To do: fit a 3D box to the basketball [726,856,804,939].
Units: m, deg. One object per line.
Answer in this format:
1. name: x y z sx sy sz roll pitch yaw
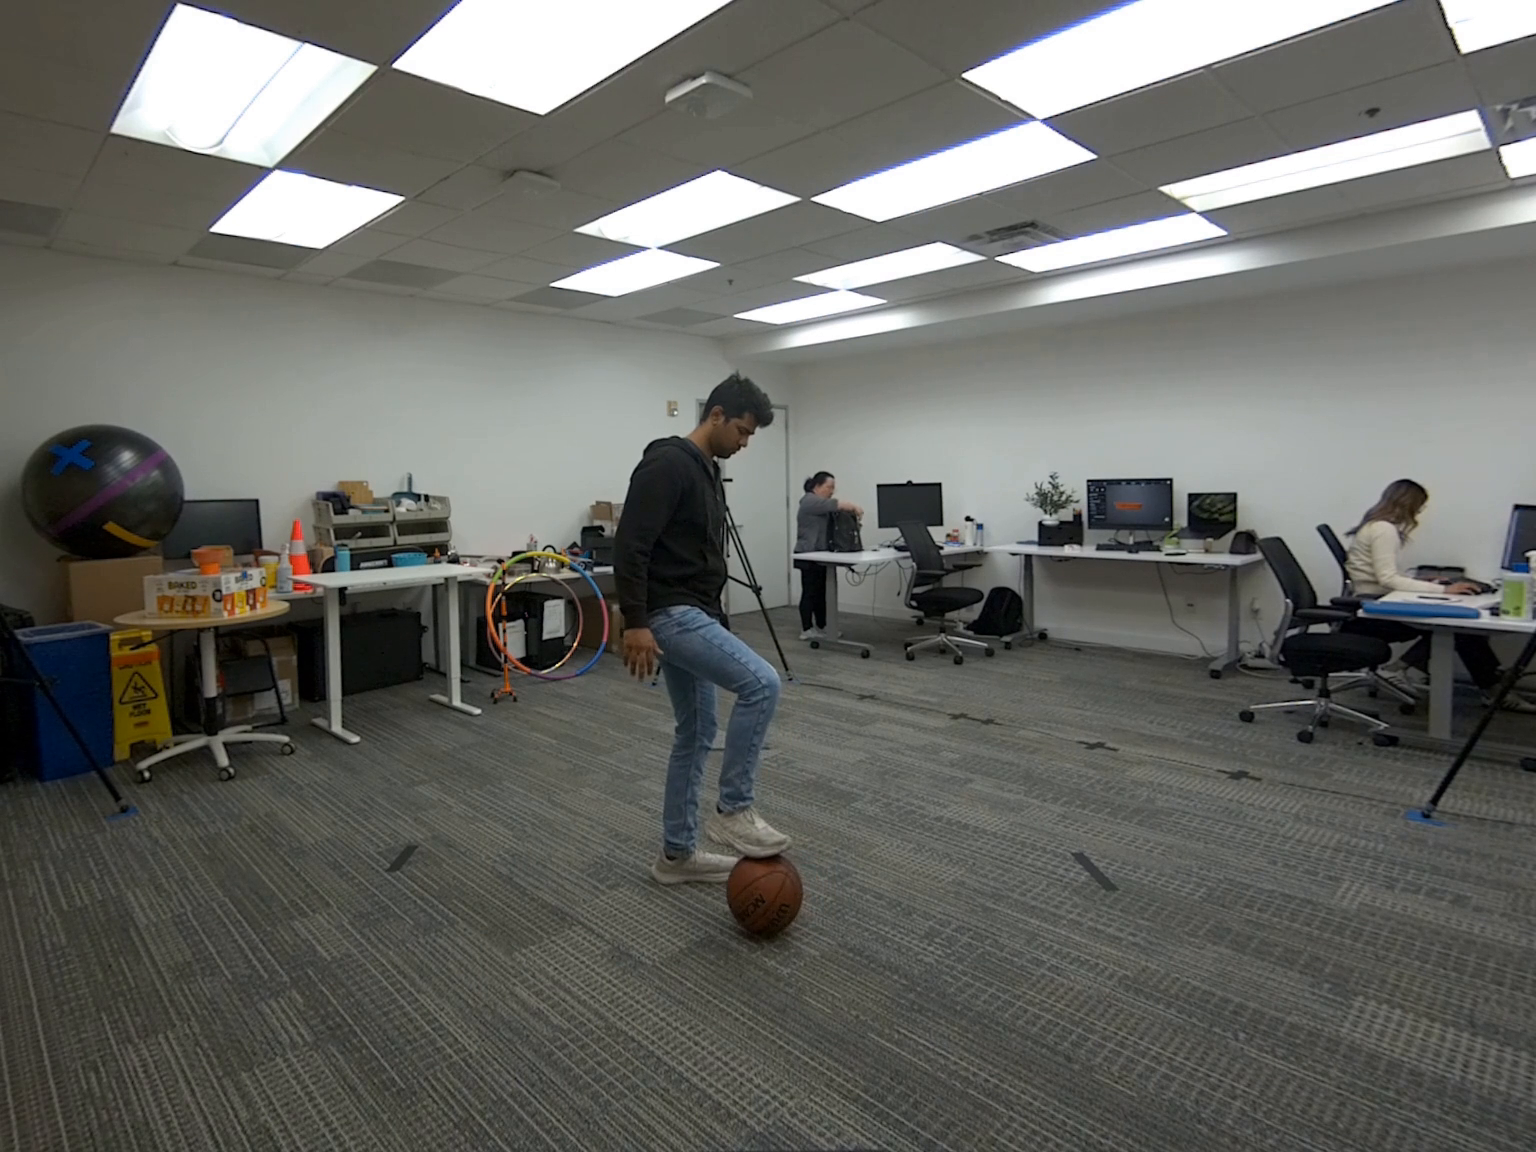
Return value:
1. basketball: 0.007 0.979 2.637 0.236 0.235 0.237 -1 5 -2
